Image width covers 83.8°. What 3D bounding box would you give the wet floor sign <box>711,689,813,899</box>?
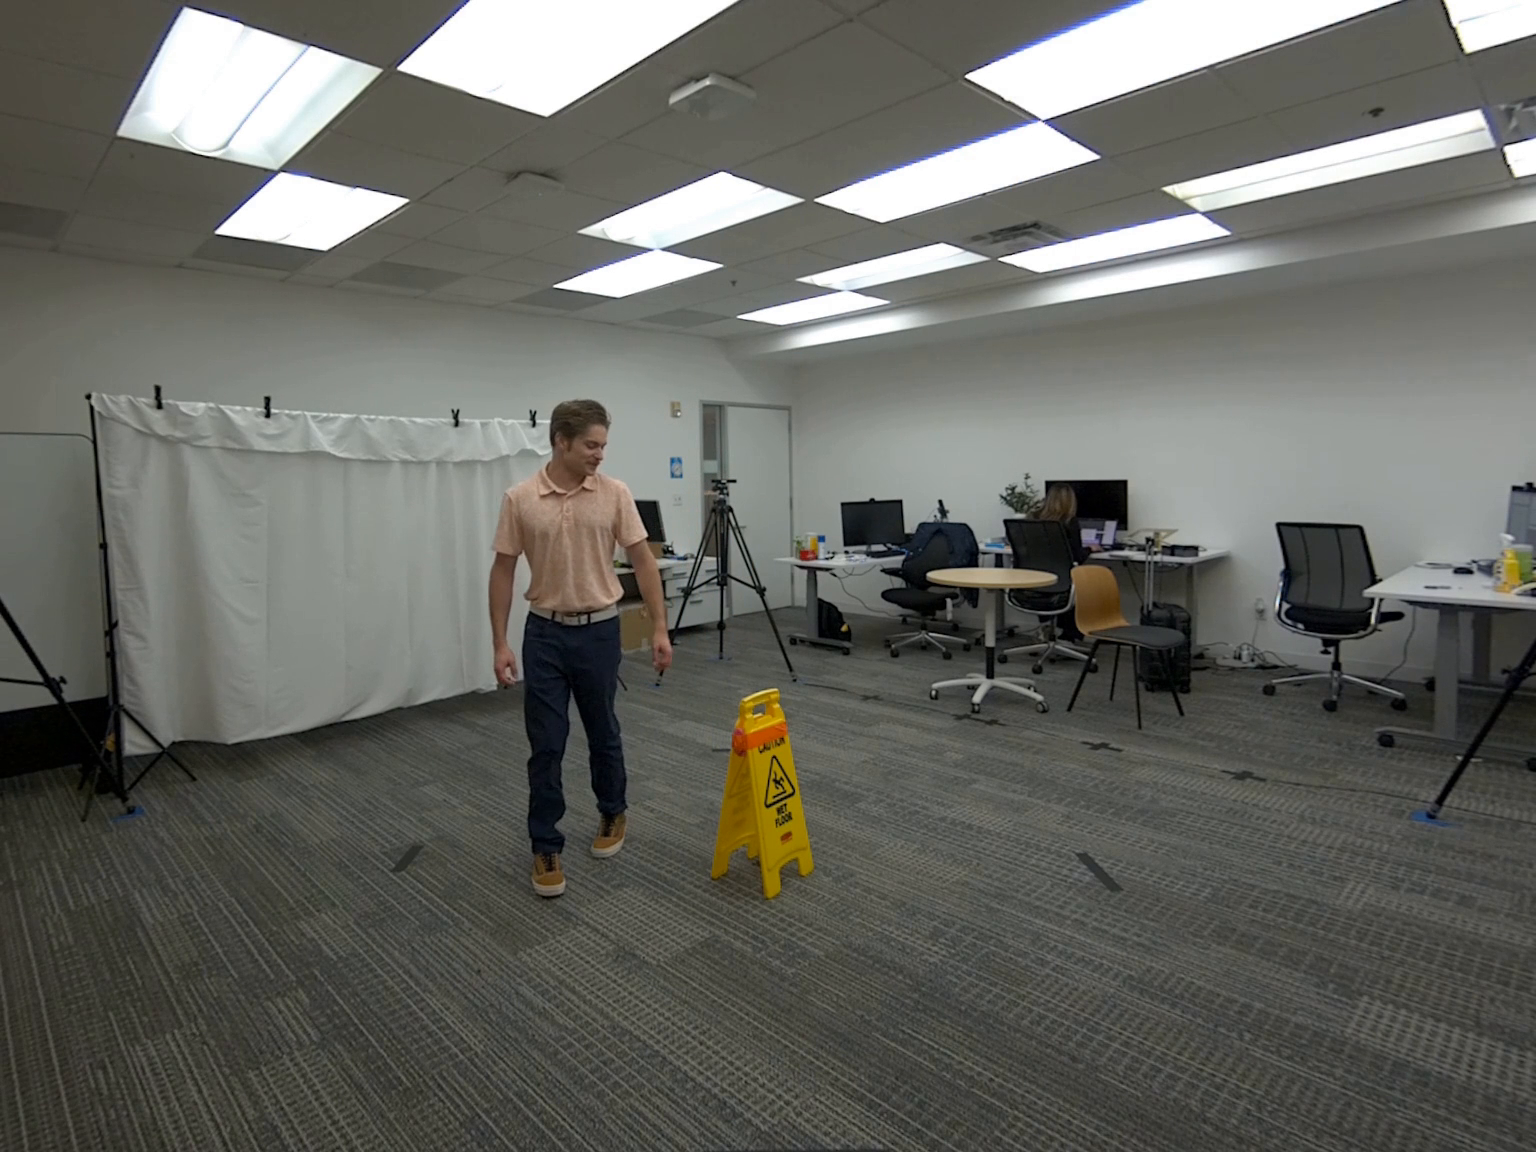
[{"bbox_3d":[-0.027,0.728,3.008,0.298,0.644,0.275,2,4,38],"label":"wet floor sign"}]
